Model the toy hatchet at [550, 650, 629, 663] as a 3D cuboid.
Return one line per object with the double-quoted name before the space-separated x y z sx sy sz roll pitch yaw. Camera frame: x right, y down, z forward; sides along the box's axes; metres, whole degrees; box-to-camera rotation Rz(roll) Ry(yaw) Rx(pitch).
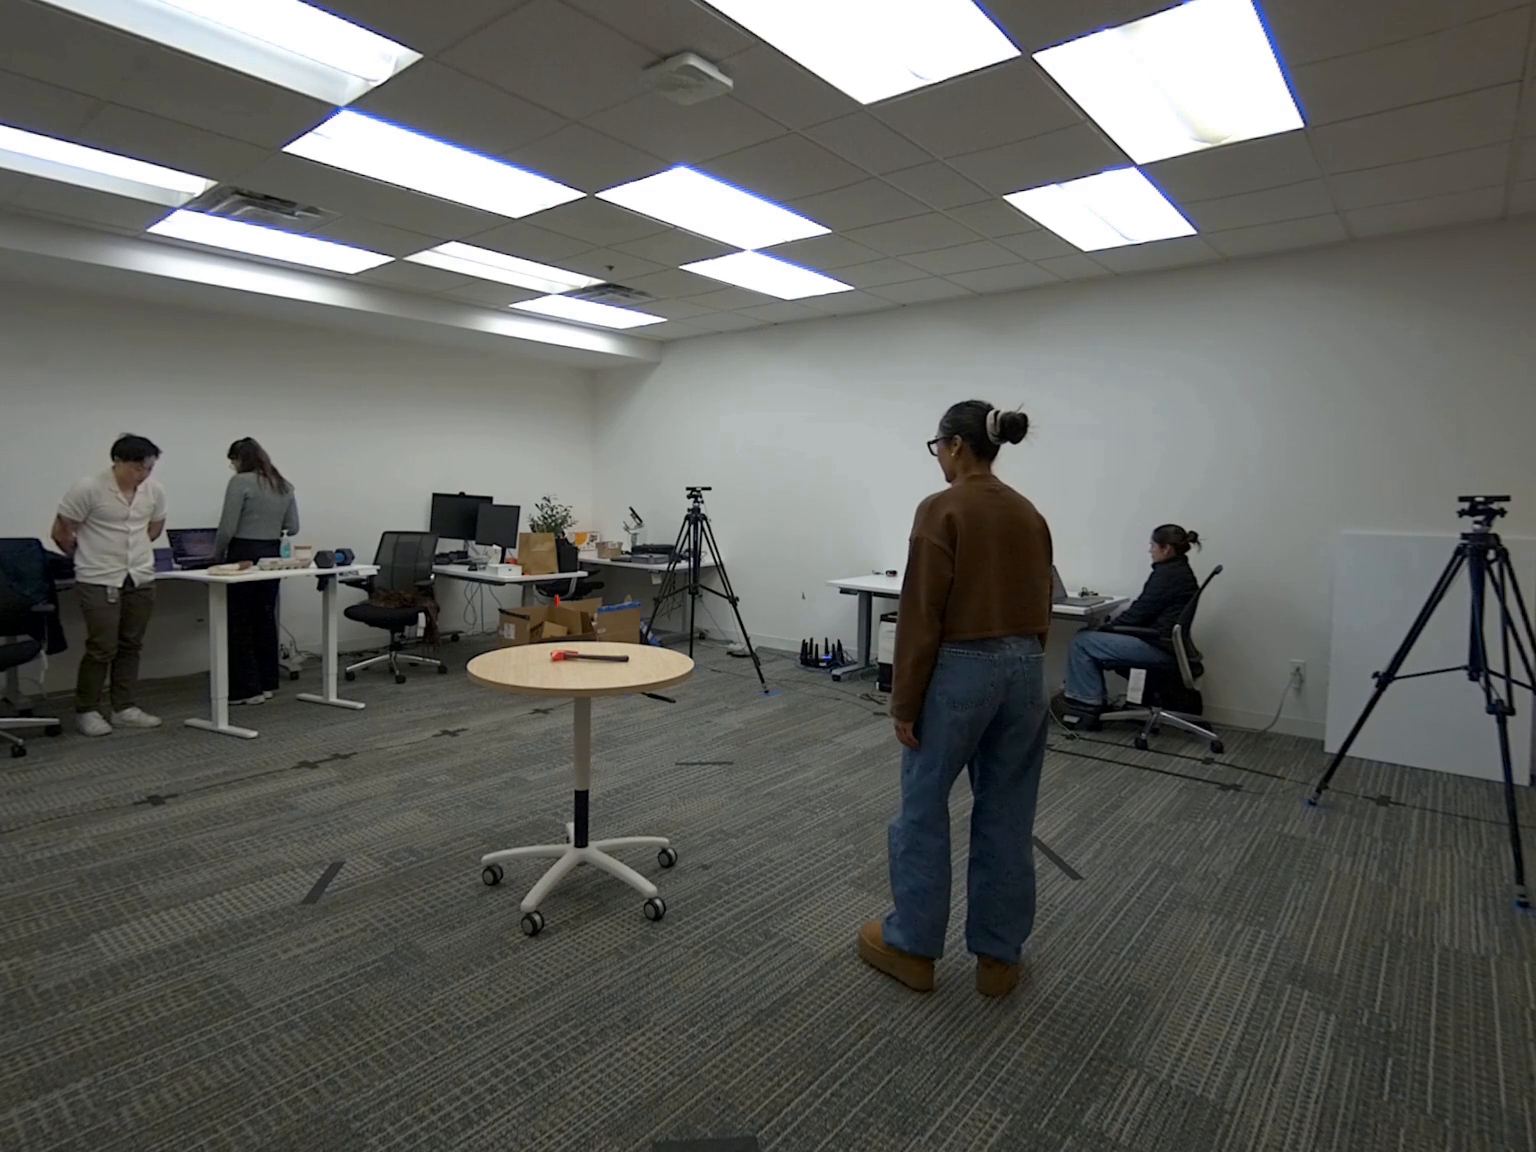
"toy hatchet" -0.643 0.280 2.988 0.267 0.029 0.132 2 2 -9
